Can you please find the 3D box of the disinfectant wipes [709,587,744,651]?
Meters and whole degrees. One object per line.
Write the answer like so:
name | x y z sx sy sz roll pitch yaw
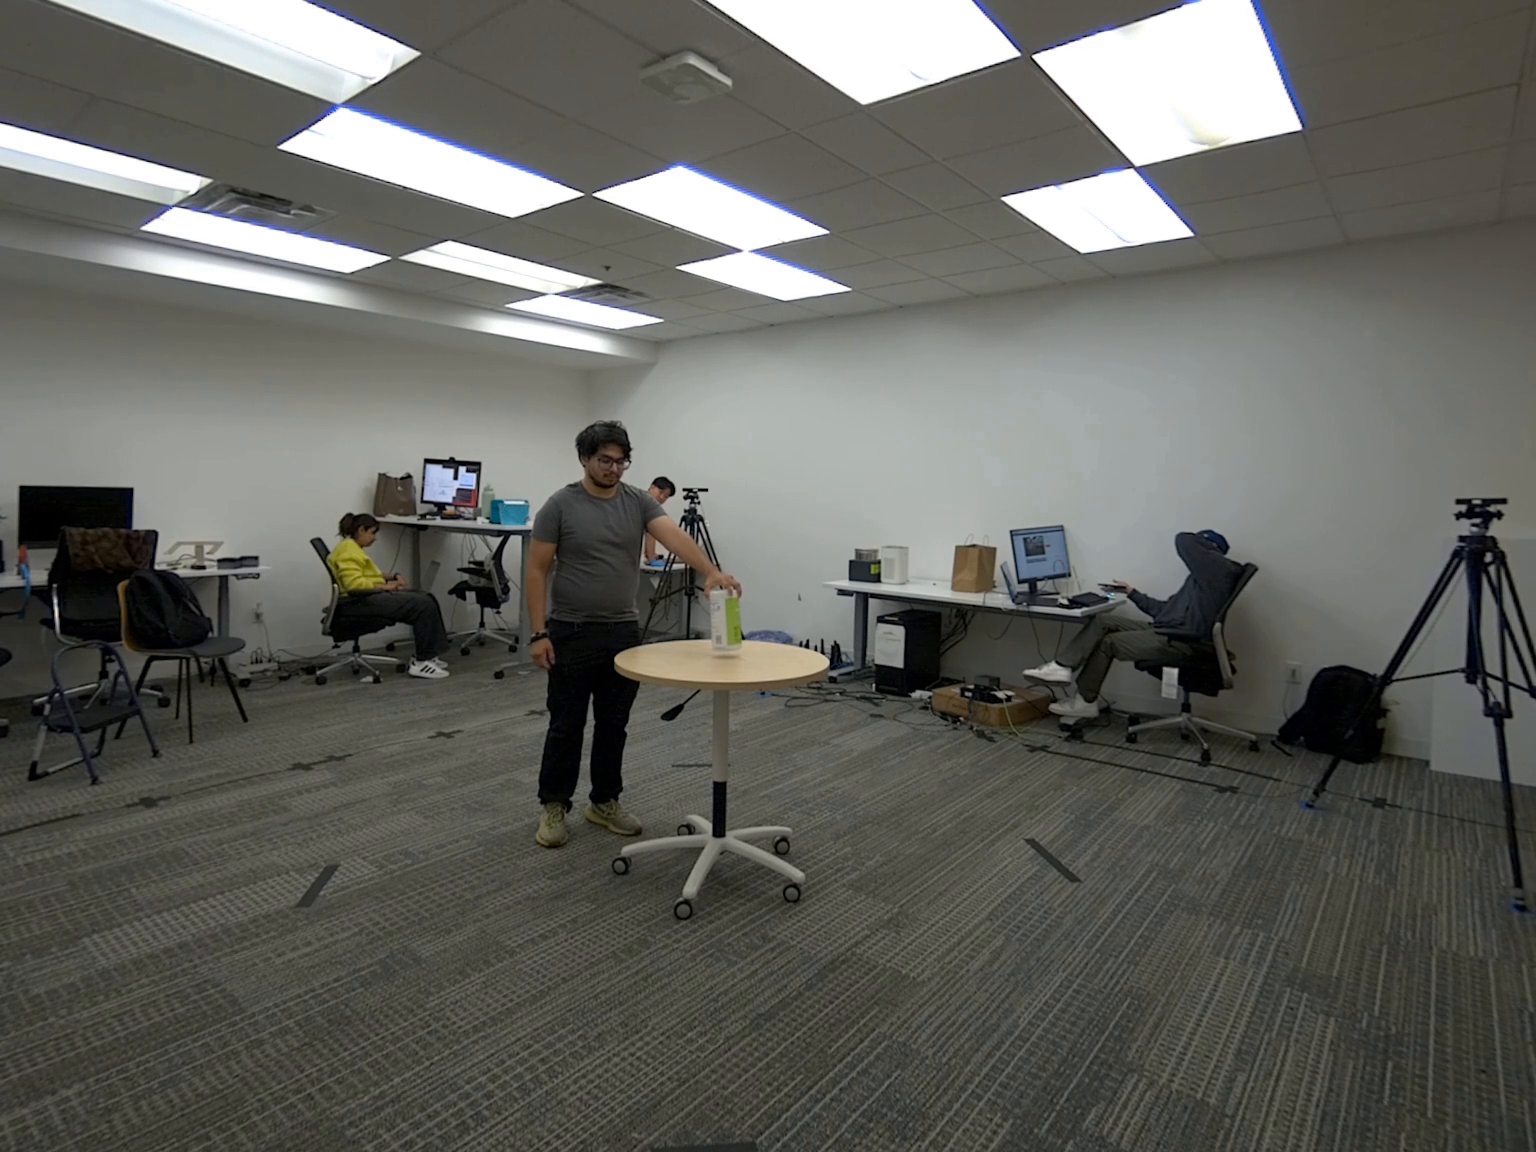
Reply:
disinfectant wipes | -0.154 0.152 3.064 0.118 0.217 0.118 -1 0 -2
